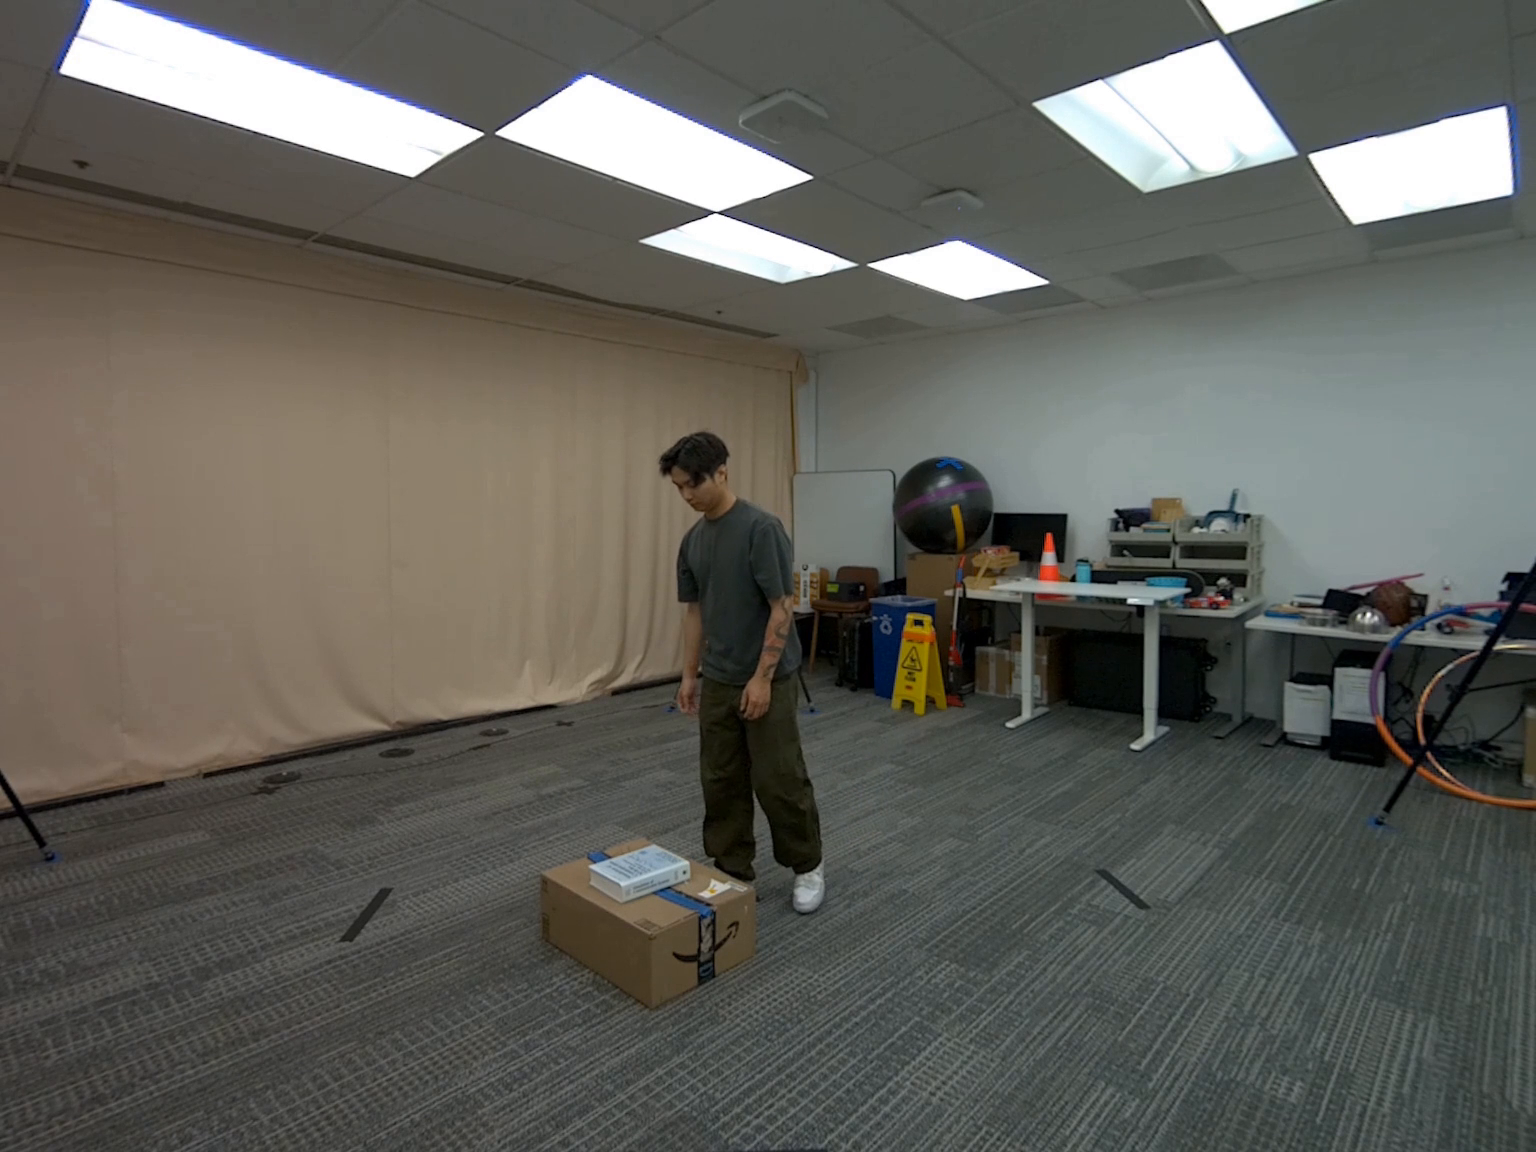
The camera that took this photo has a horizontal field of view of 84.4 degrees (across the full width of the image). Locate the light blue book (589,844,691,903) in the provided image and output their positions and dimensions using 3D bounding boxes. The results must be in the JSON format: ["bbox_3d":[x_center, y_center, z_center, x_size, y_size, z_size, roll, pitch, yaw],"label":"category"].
[{"bbox_3d":[-0.405,0.937,2.652,0.253,0.059,0.198,-4,5,-42],"label":"light blue book"}]
